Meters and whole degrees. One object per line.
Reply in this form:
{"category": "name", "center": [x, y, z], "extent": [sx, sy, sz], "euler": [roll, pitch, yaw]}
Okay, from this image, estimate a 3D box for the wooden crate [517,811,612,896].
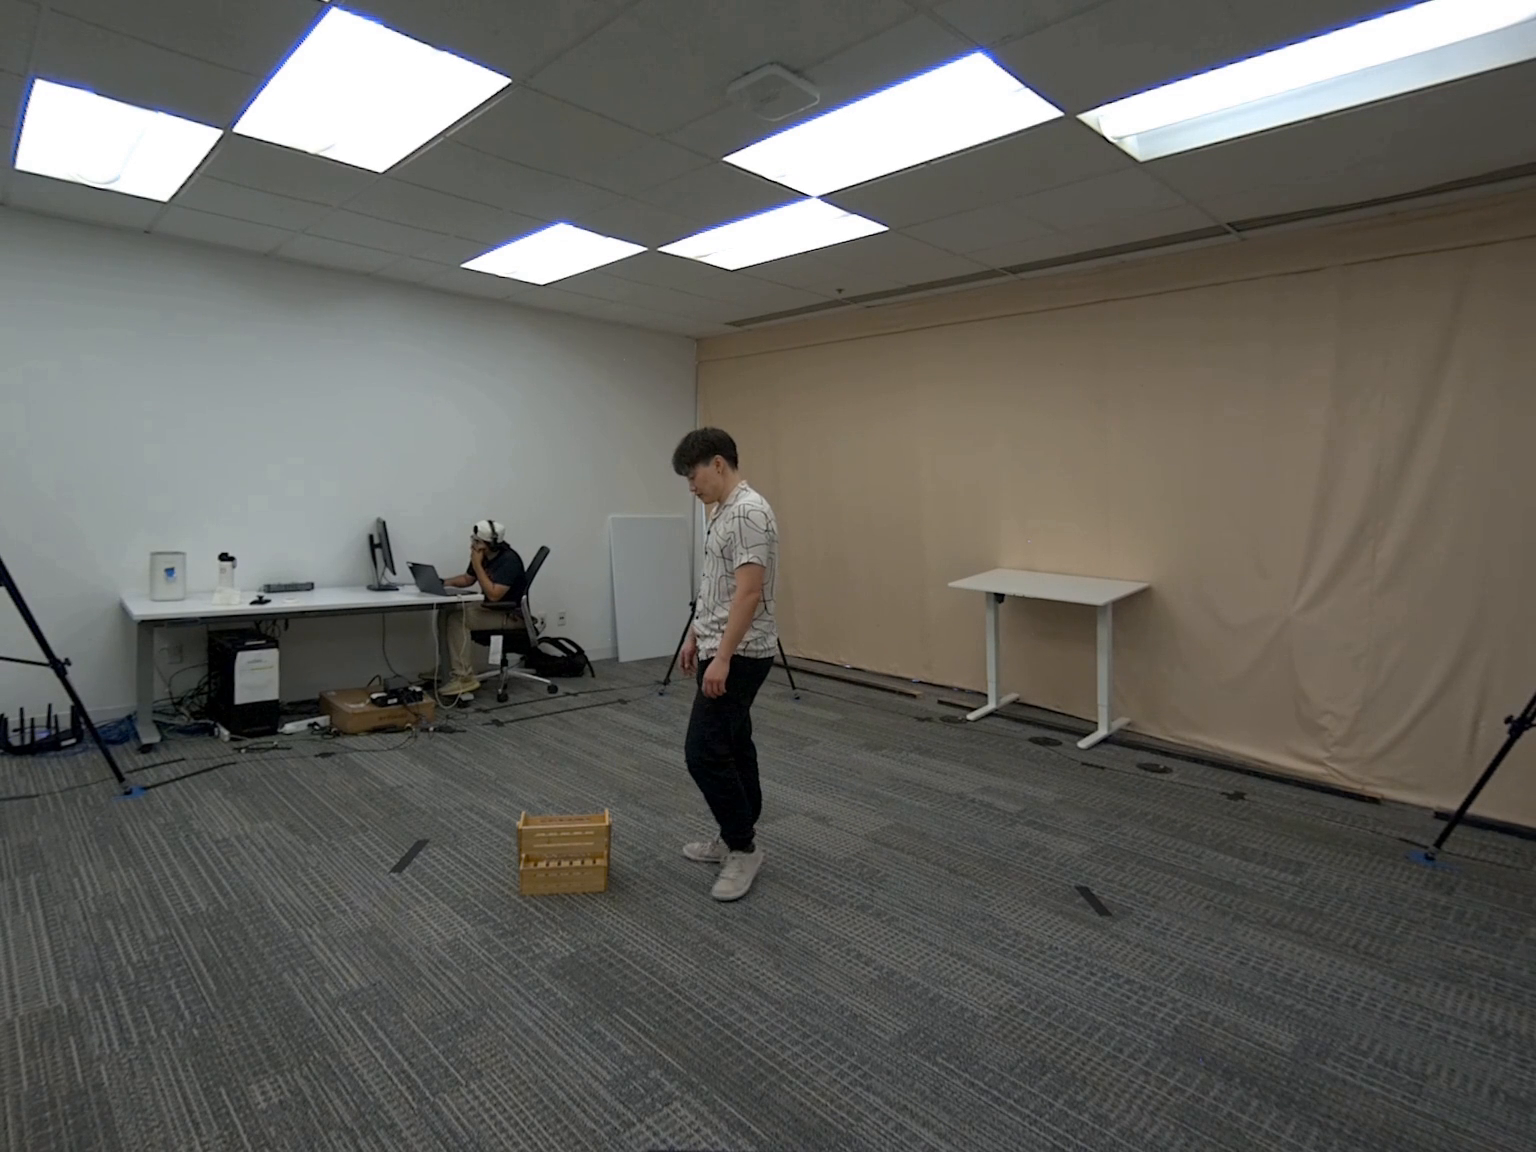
{"category": "wooden crate", "center": [-0.737, 0.963, 3.027], "extent": [0.322, 0.272, 0.305], "euler": [0, 4, -11]}
